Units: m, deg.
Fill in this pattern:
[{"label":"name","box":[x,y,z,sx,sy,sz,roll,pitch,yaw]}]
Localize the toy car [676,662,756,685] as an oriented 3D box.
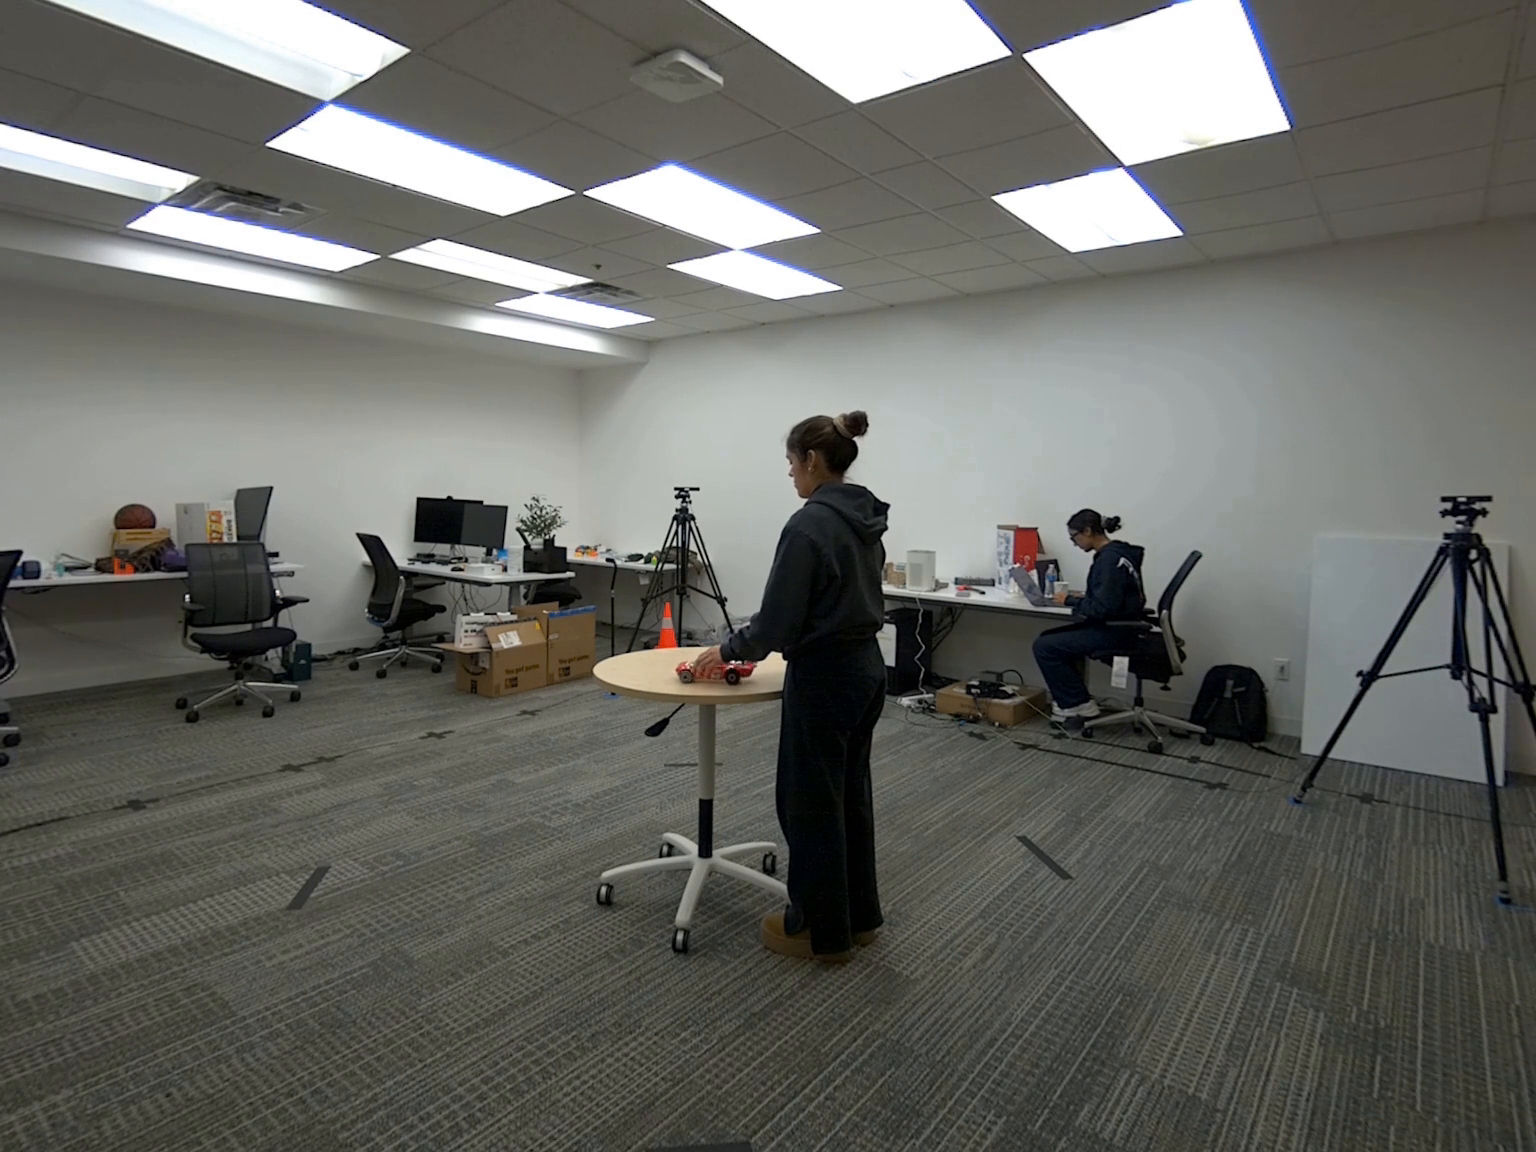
[{"label":"toy car","box":[-0.159,0.296,2.673,0.256,0.083,0.130,-9,4,7]}]
